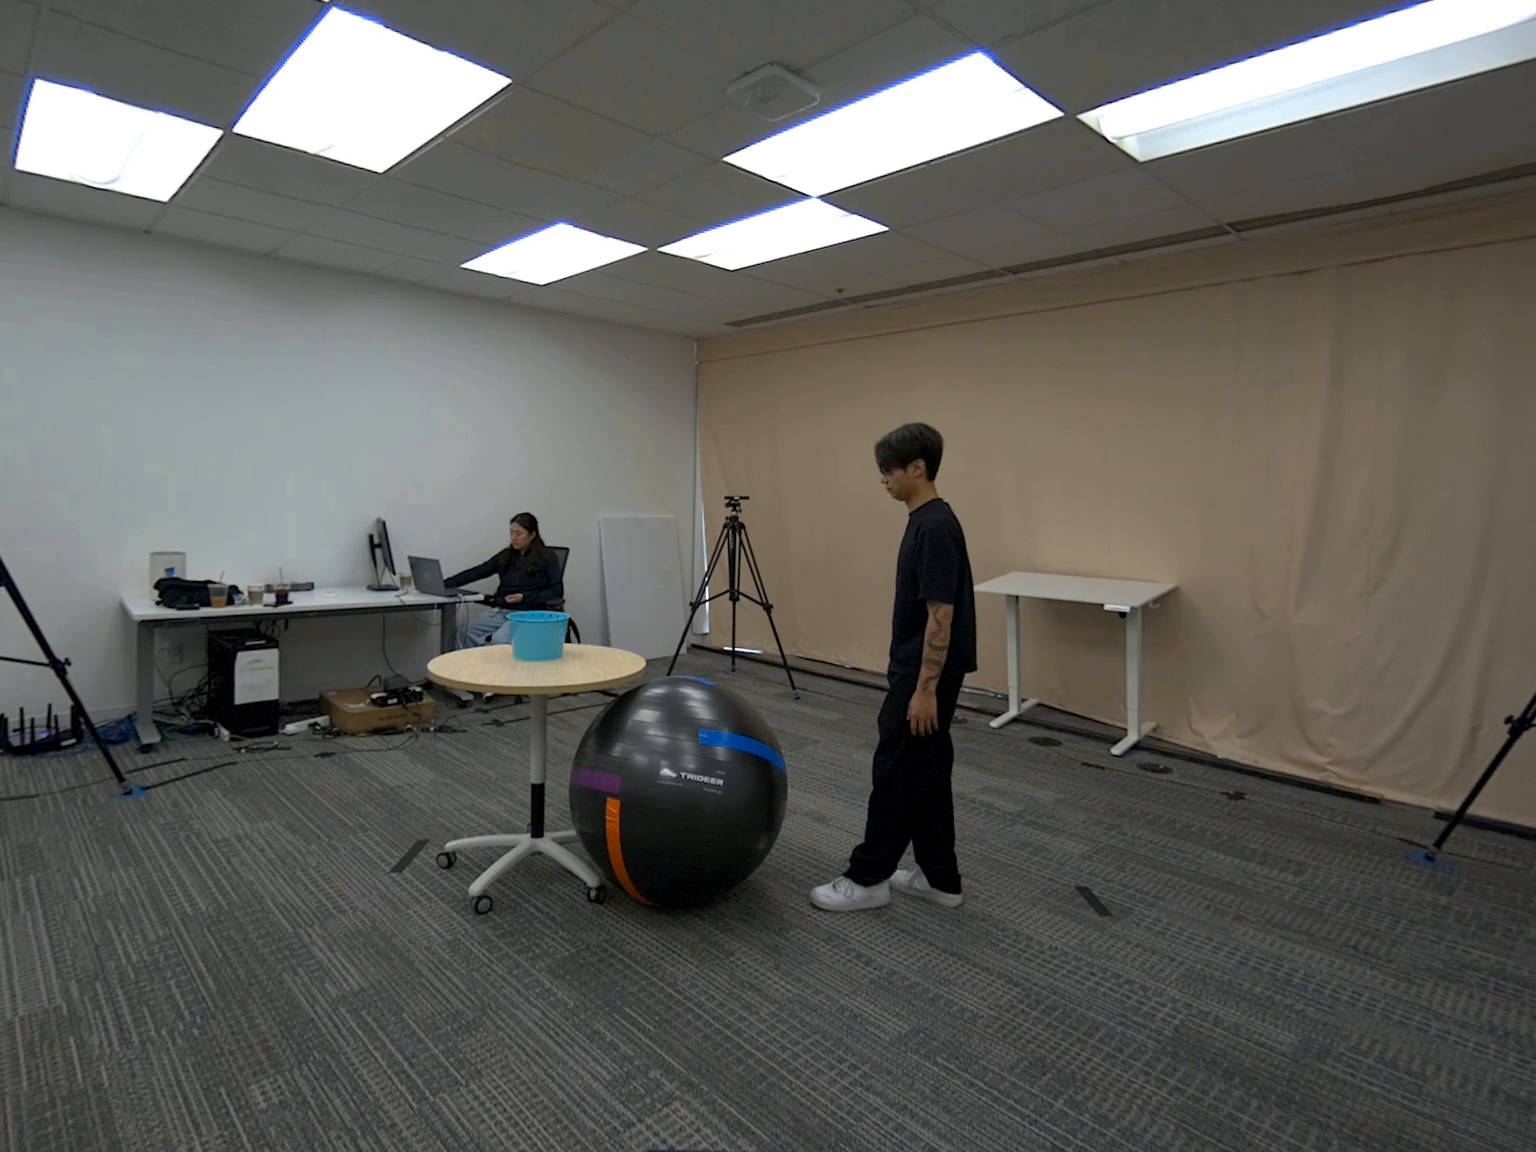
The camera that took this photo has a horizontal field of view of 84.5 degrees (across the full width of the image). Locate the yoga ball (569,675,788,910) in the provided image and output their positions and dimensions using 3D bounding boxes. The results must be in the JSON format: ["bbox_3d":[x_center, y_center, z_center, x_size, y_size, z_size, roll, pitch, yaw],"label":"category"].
[{"bbox_3d":[-0.318,0.744,2.936,0.757,0.756,0.761,1,4,-1],"label":"yoga ball"}]
